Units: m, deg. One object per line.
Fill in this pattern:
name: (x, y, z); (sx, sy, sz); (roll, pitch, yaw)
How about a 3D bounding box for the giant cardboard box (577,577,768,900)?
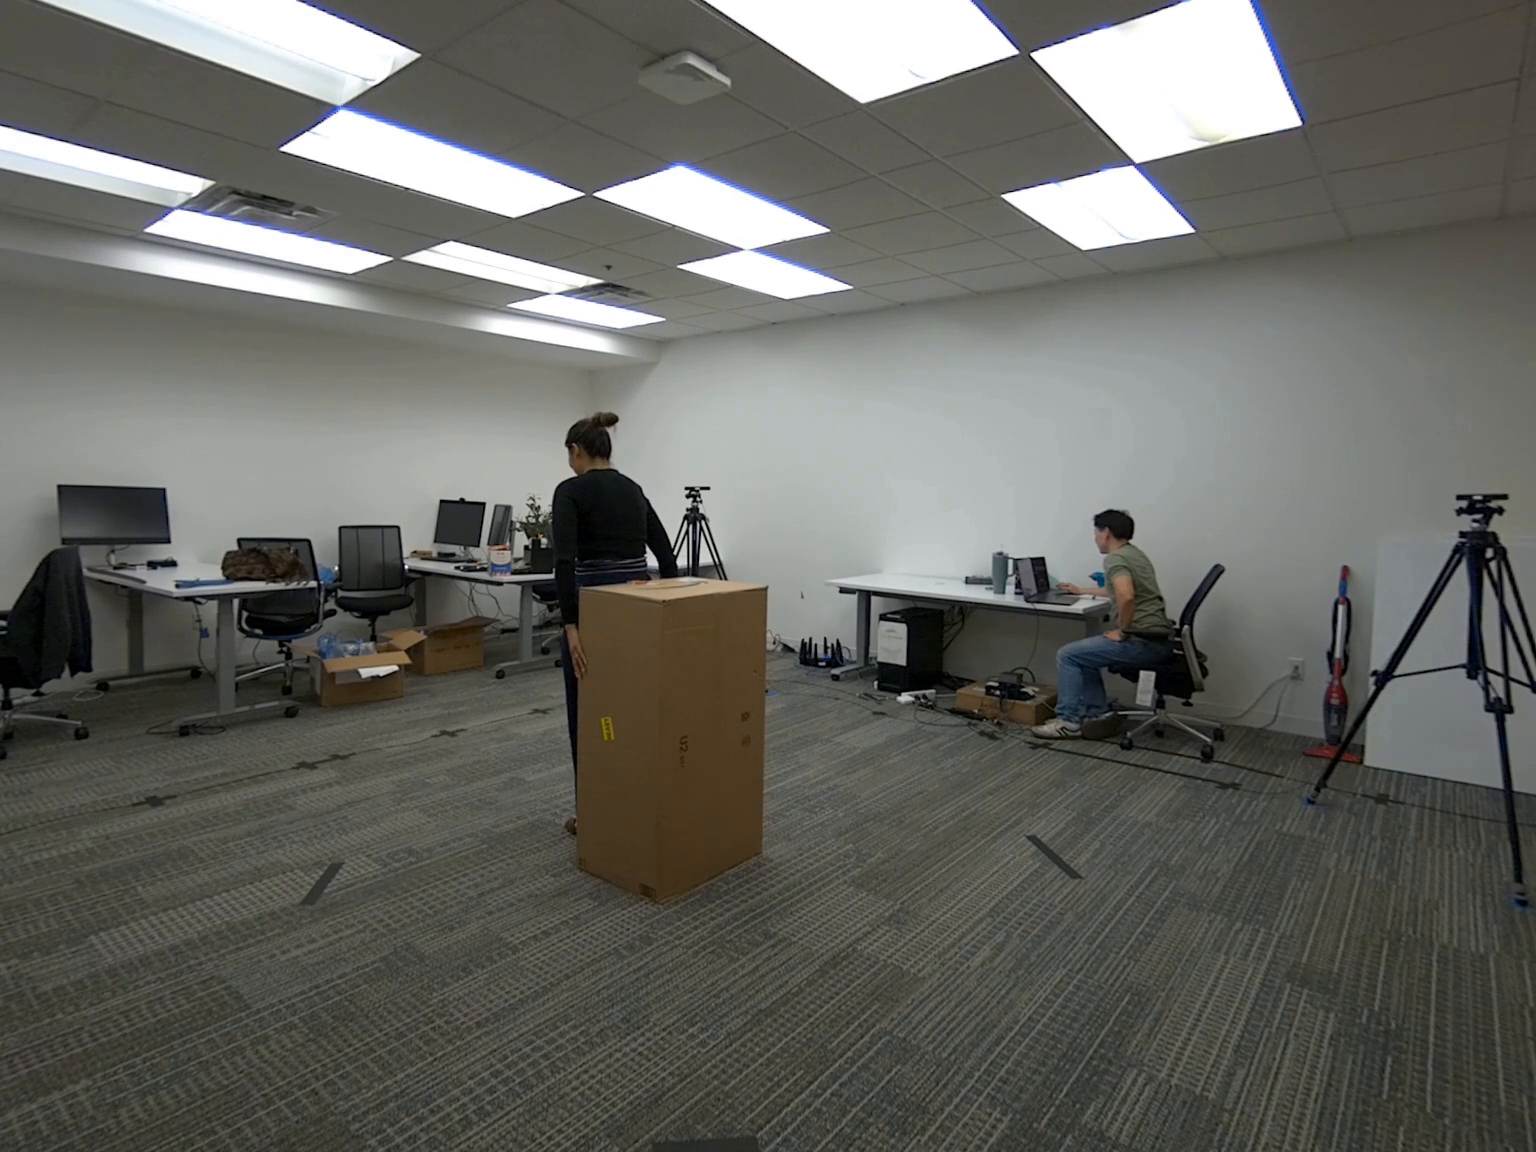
giant cardboard box: (-0.352, 0.550, 3.138); (0.440, 1.022, 0.561); (4, 5, 38)
